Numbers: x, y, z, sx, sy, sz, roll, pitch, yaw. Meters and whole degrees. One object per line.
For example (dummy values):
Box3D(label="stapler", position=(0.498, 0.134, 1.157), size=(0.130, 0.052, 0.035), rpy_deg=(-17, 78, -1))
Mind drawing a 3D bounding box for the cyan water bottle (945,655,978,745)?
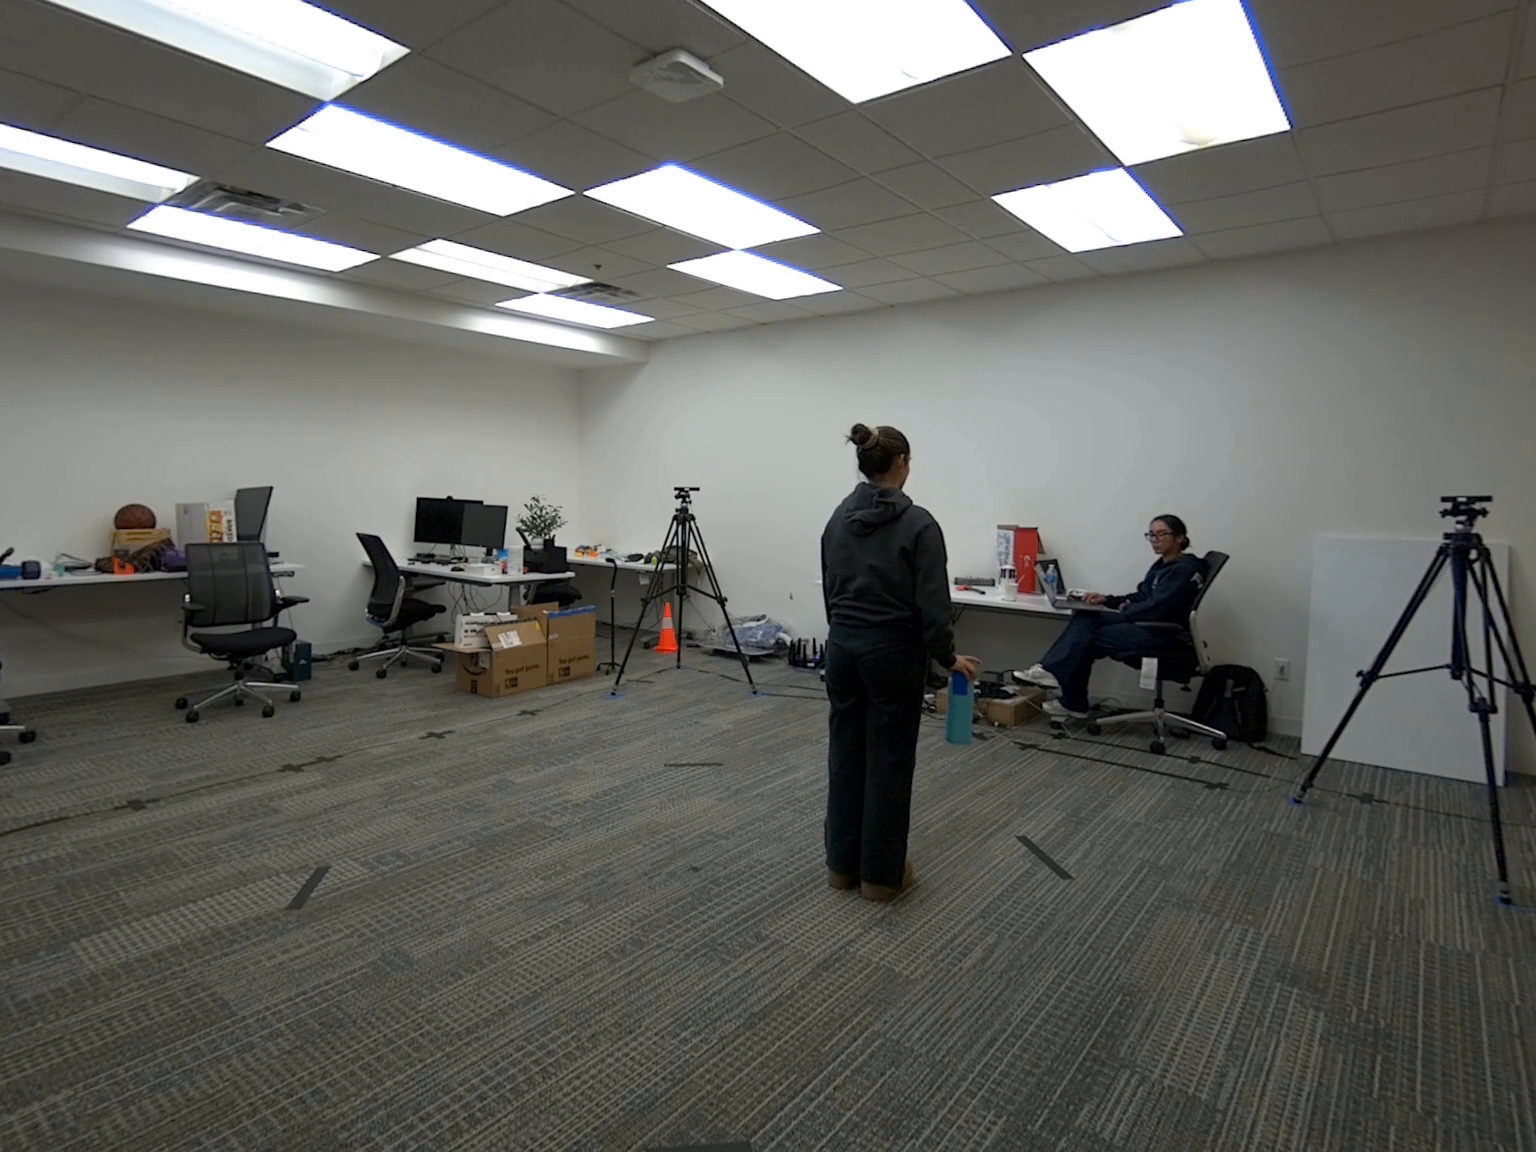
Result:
Box3D(label="cyan water bottle", position=(0.675, 0.431, 2.964), size=(0.092, 0.283, 0.092), rpy_deg=(1, 2, -2))
